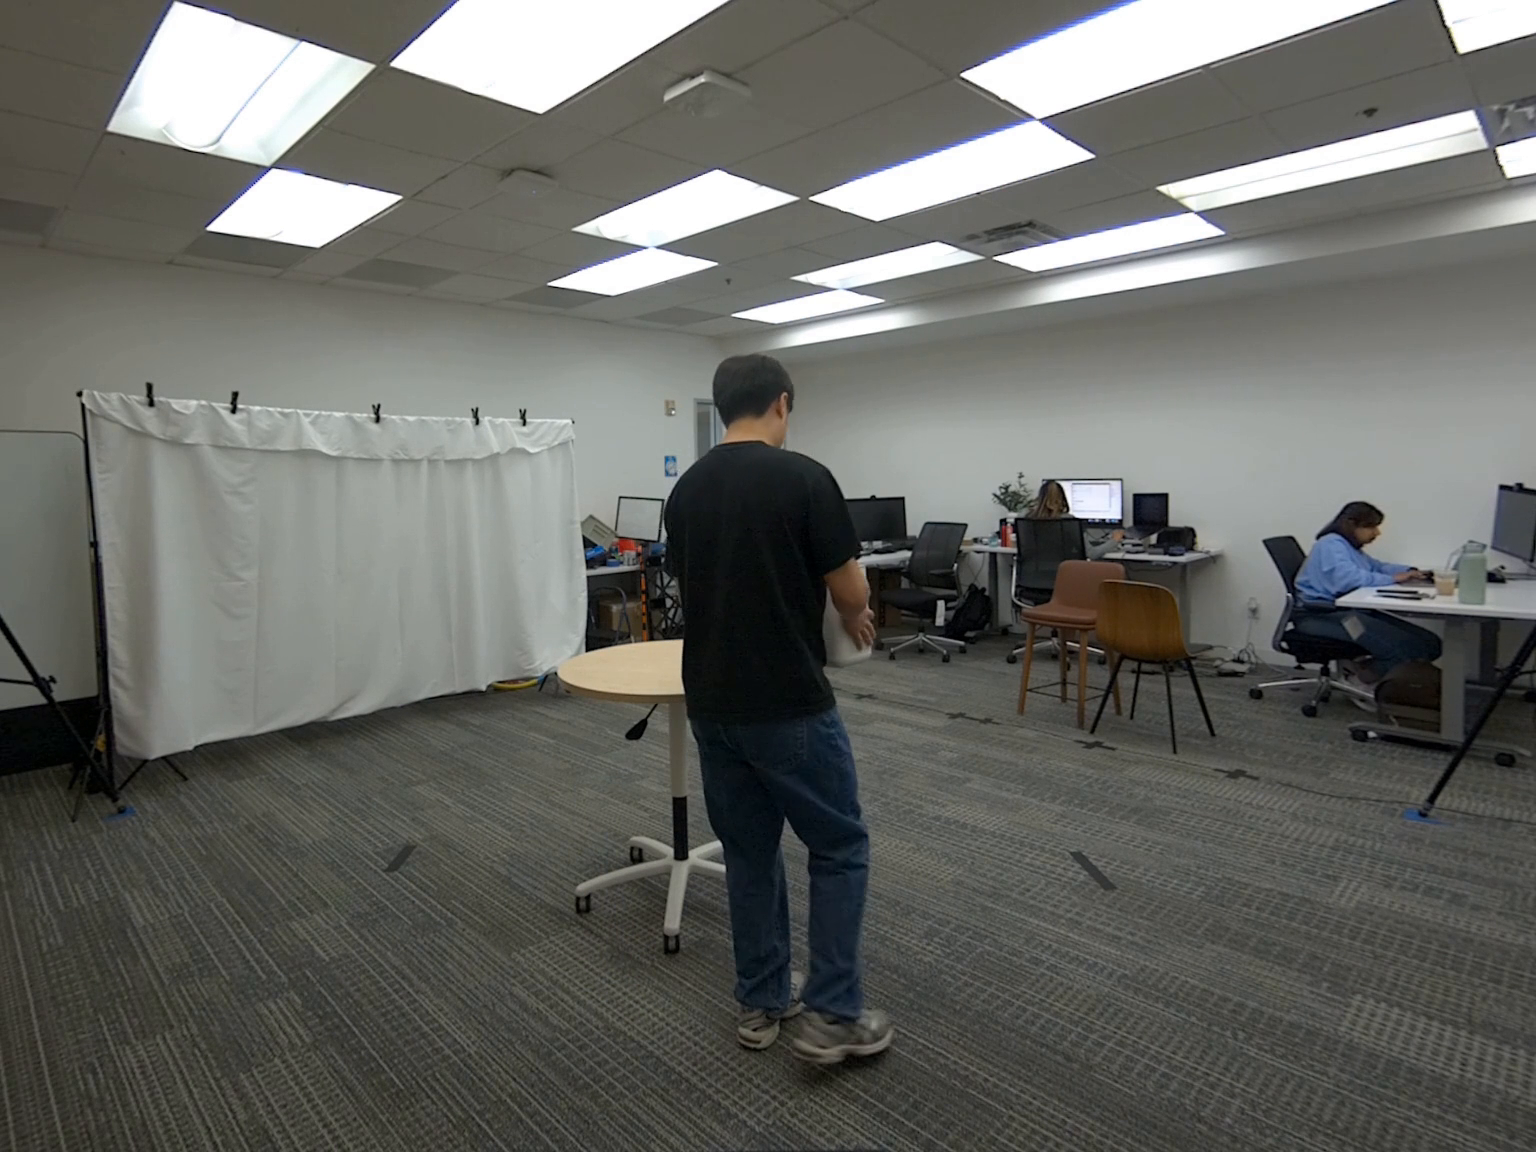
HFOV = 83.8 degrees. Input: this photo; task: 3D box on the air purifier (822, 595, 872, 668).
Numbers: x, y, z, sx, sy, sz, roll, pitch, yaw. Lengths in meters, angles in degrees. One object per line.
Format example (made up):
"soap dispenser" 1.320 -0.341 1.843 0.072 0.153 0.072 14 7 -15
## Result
"air purifier" 0.186 0.112 2.345 0.167 0.265 0.176 -7 4 -40
